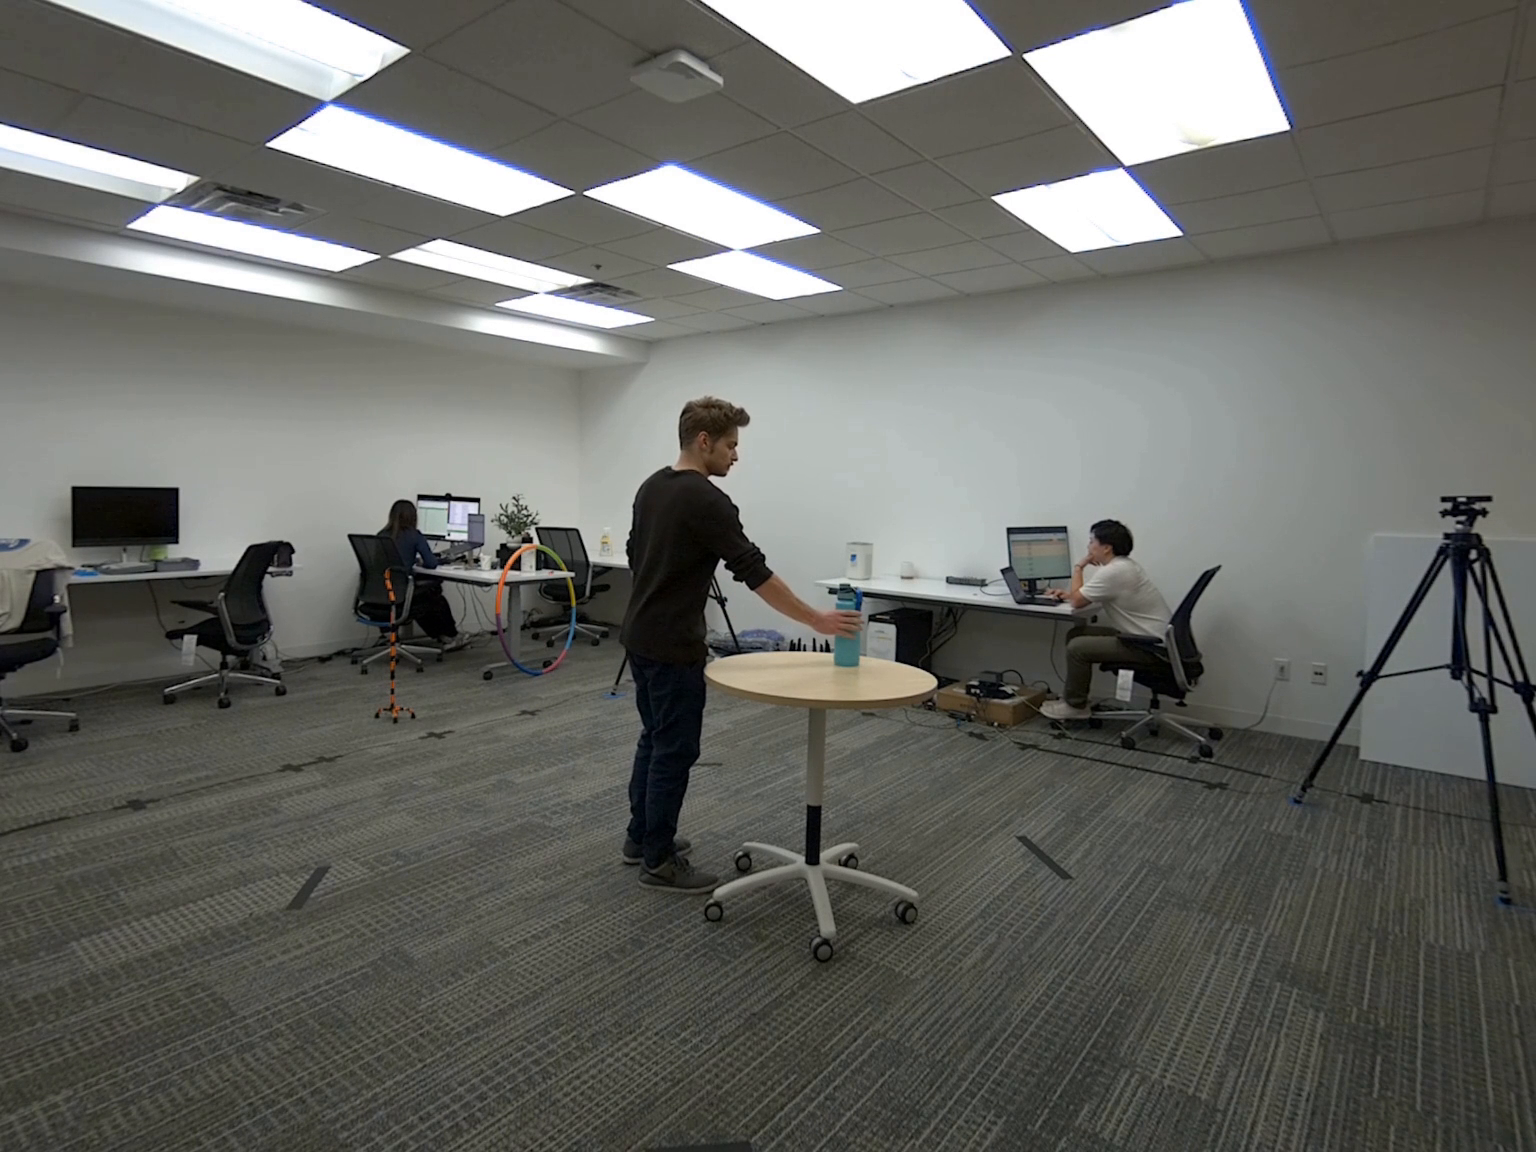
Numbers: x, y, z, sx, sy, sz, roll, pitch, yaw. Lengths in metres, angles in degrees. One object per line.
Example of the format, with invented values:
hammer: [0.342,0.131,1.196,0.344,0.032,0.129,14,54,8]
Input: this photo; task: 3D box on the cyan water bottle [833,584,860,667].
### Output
cyan water bottle: [0.271,0.171,2.981,0.092,0.282,0.093,3,5,-2]
